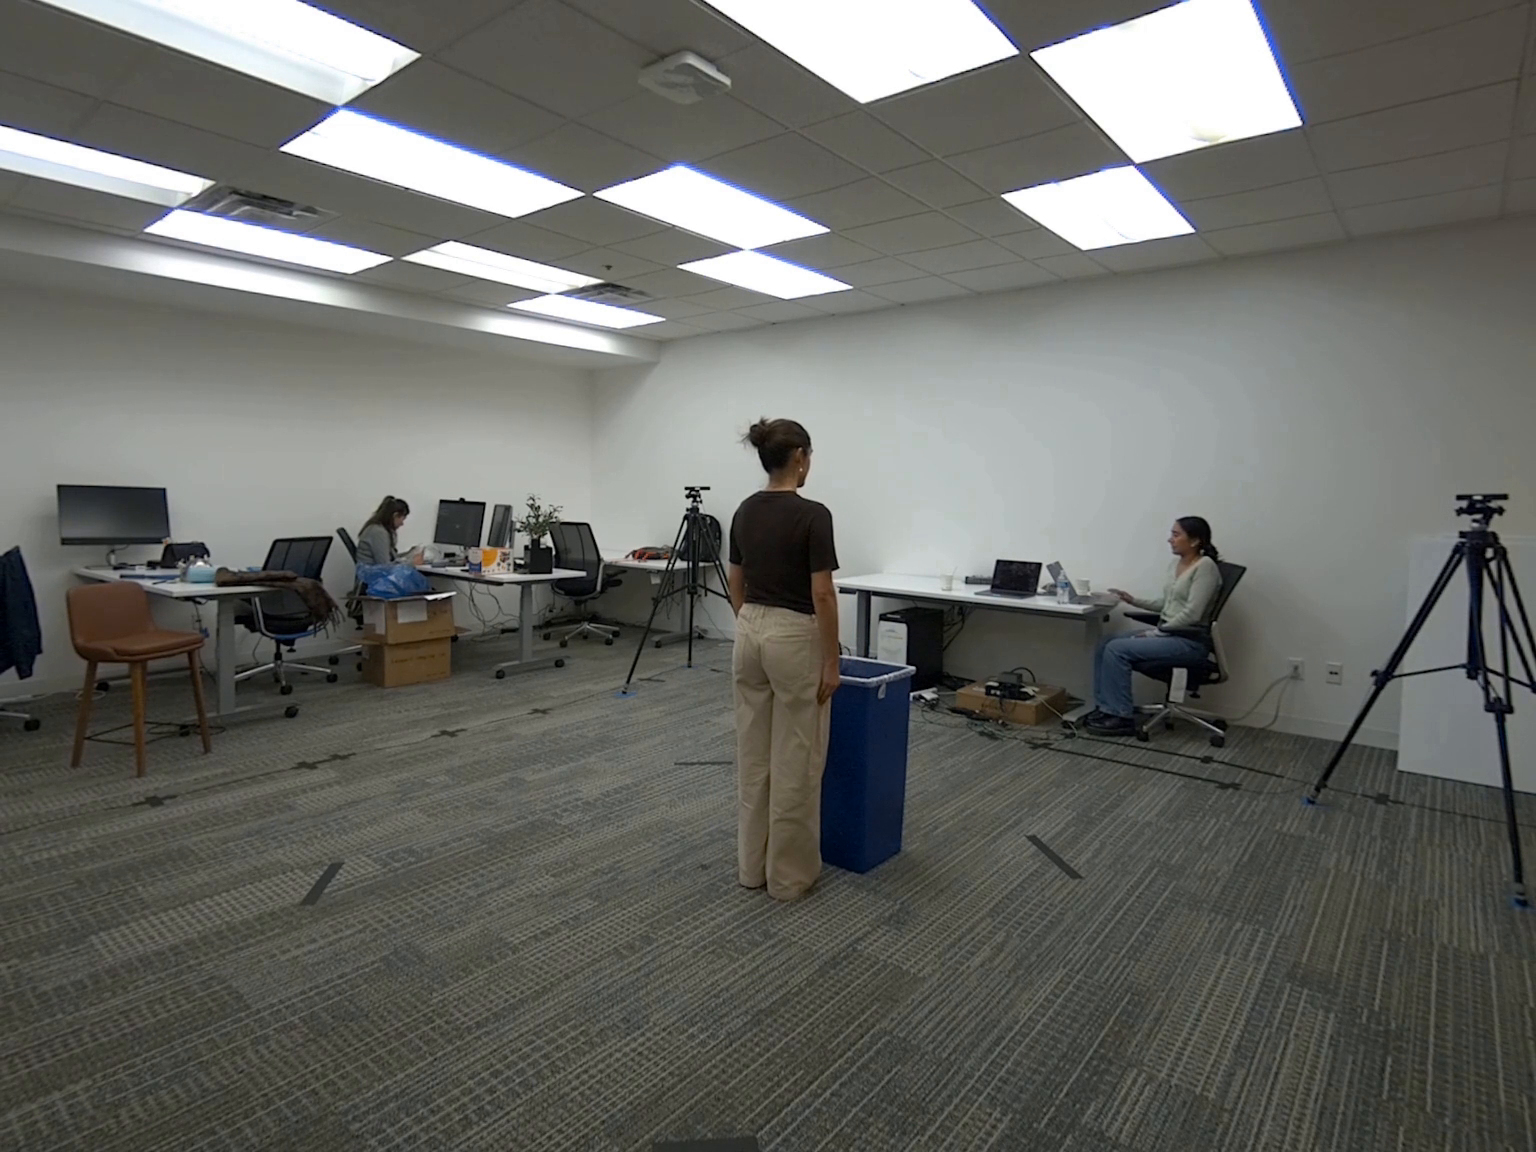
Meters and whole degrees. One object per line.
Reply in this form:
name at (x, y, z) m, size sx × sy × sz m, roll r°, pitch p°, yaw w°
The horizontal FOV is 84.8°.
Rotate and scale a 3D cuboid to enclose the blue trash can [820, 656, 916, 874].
blue trash can at (0.314, 0.700, 3.277) m, size 0.390 × 0.712 × 0.363 m, roll 3°, pitch 4°, yaw 38°
